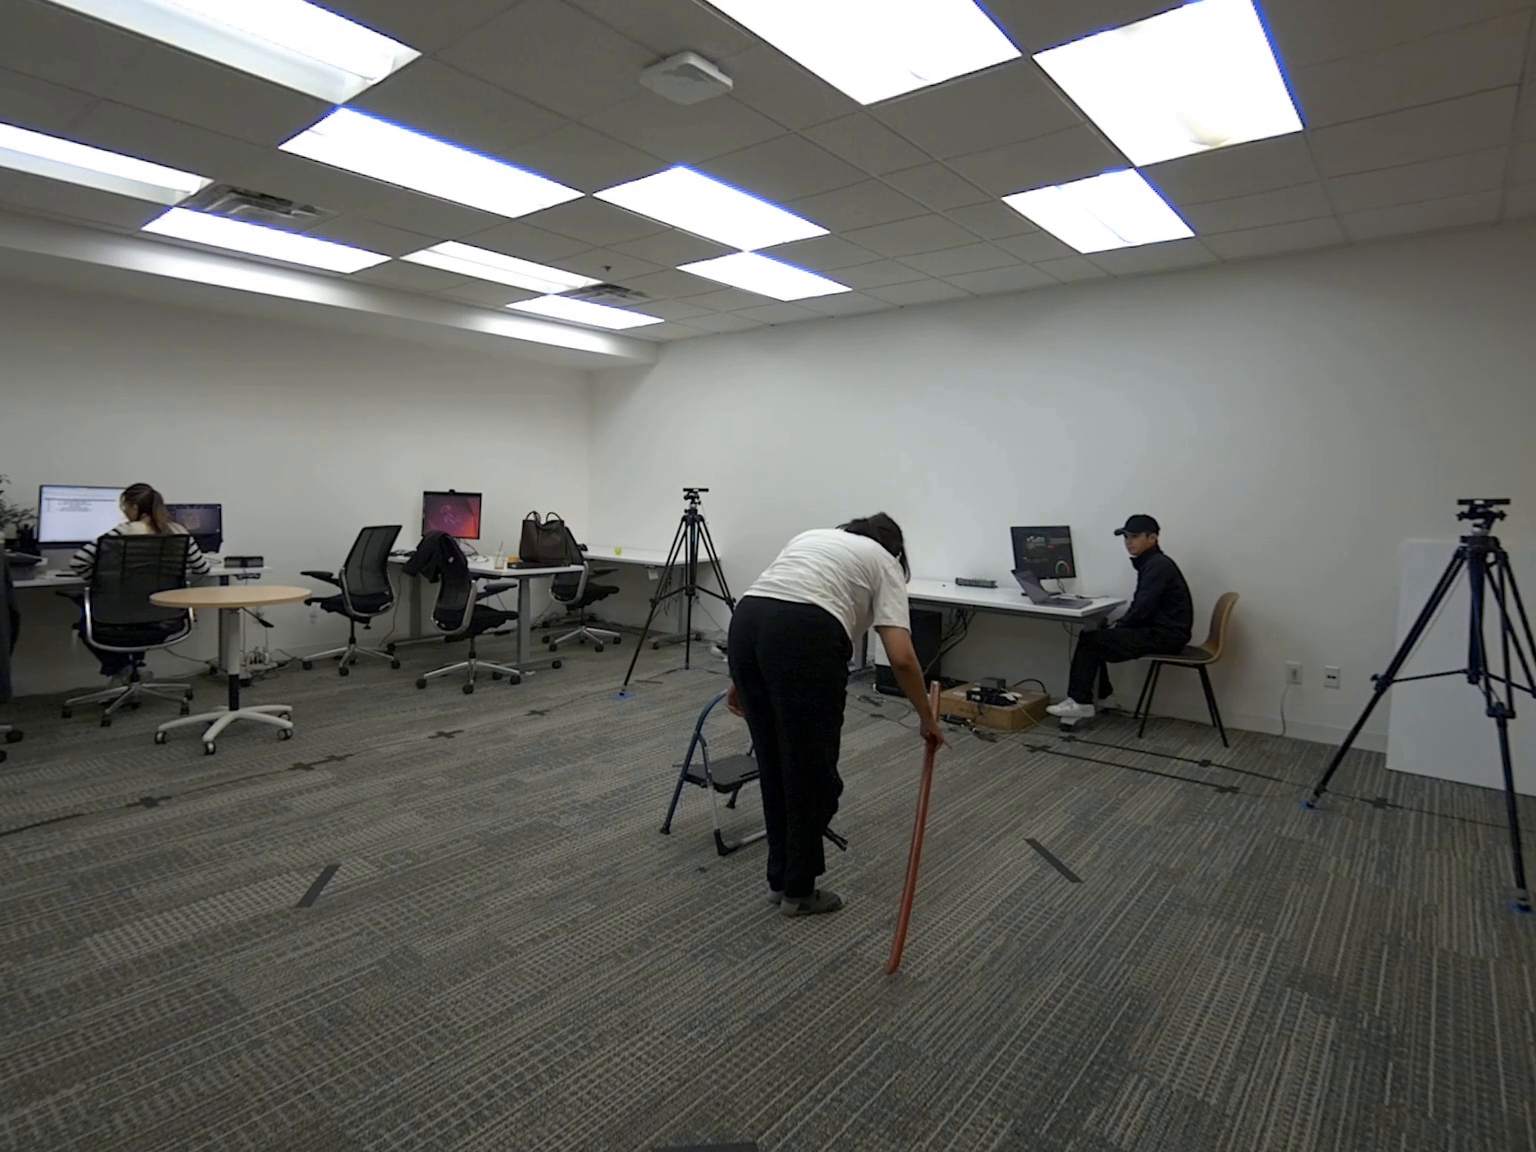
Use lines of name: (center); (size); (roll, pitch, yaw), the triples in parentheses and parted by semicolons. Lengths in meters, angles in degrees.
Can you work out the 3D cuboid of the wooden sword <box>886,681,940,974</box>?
wooden sword: (0.504, 0.767, 2.729); (0.052, 0.023, 1.037); (9, 47, 16)
